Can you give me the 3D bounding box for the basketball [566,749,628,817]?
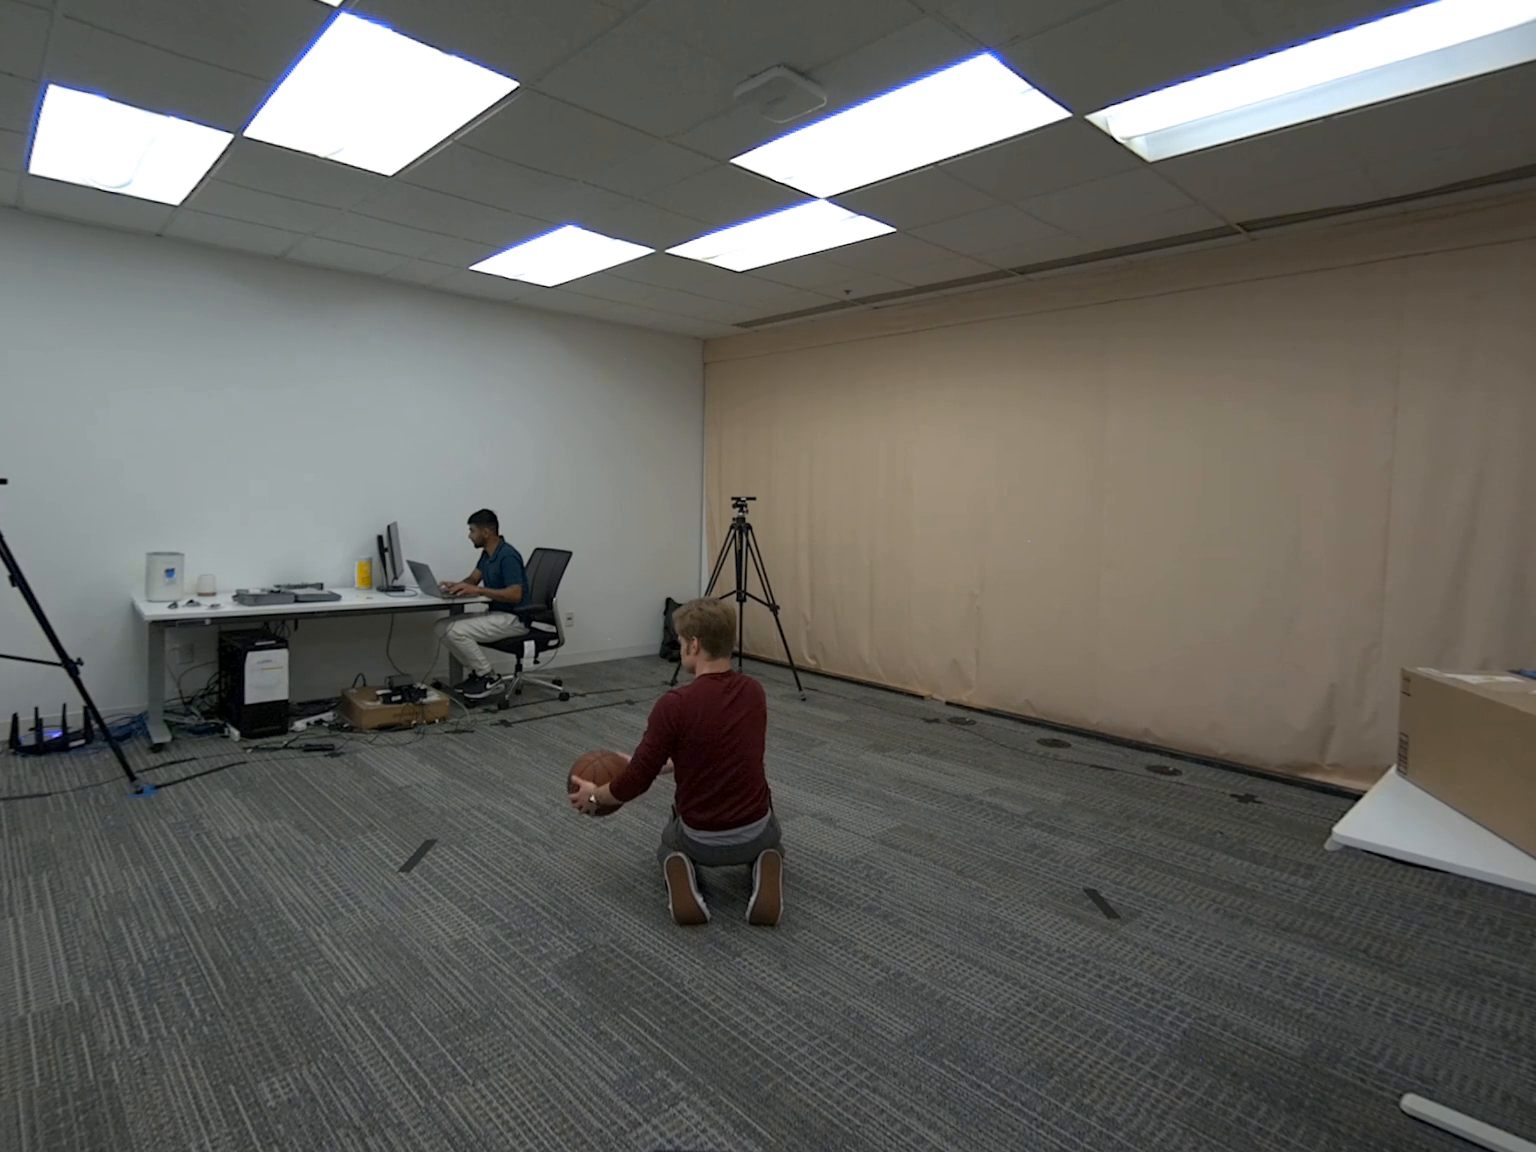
[{"bbox_3d":[-0.607,0.767,3.105,0.236,0.235,0.237,1,4,-1],"label":"basketball"}]
